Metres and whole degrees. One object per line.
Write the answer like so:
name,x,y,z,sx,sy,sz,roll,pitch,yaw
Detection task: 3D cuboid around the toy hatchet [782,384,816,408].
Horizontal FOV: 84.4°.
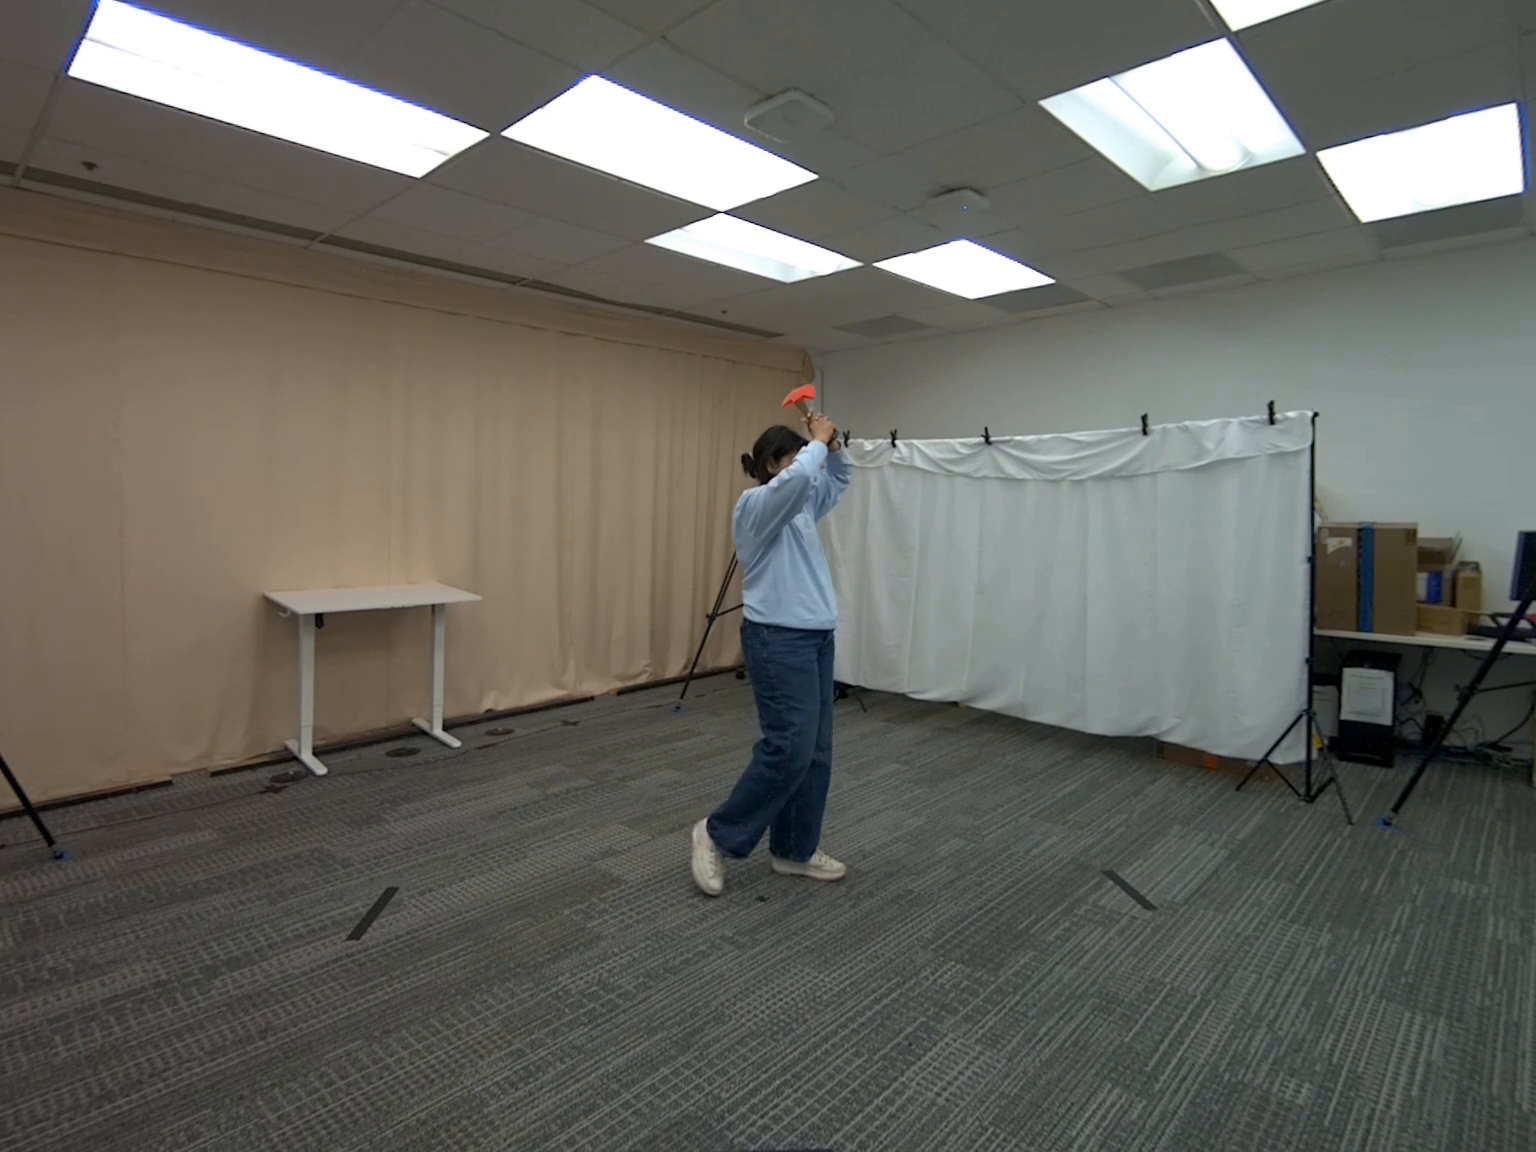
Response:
toy hatchet,0.182,-0.608,3.060,0.278,0.131,0.029,39,-4,27
